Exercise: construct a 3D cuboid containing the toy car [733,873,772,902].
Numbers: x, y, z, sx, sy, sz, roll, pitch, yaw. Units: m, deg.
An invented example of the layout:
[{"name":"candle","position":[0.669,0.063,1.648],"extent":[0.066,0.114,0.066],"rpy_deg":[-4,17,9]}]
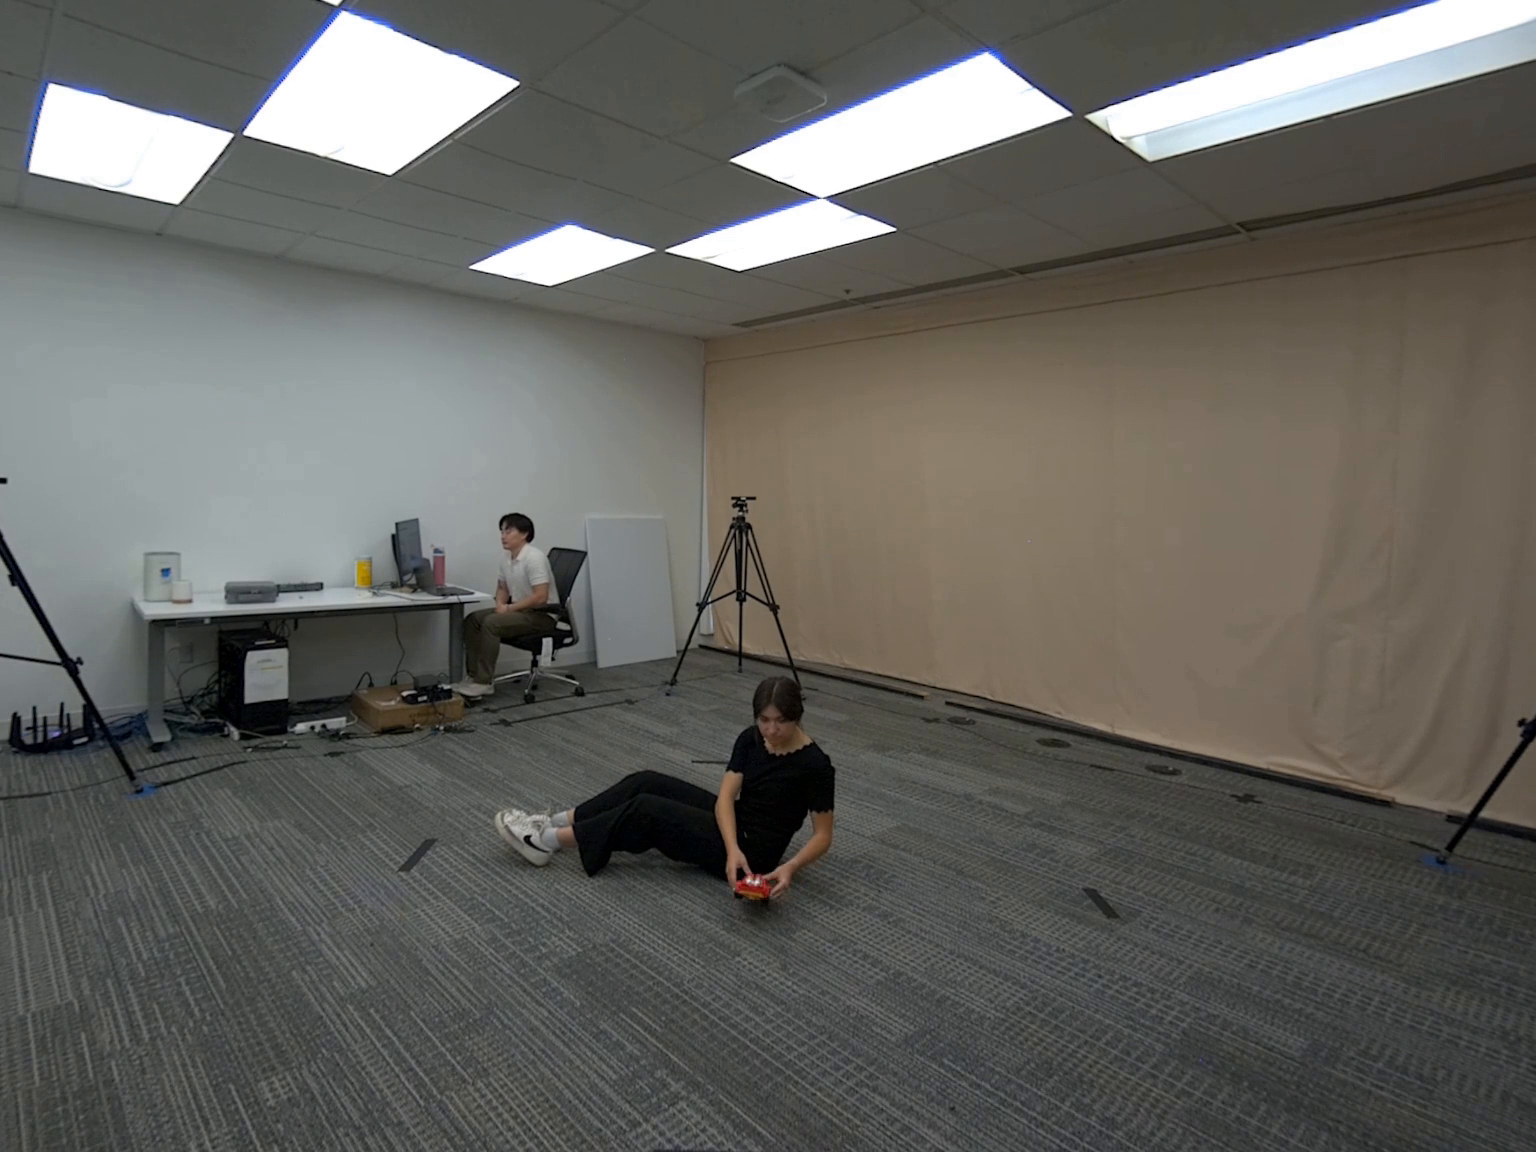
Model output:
[{"name":"toy car","position":[-0.063,1.043,2.804],"extent":[0.131,0.084,0.249],"rpy_deg":[7,-30,6]}]
